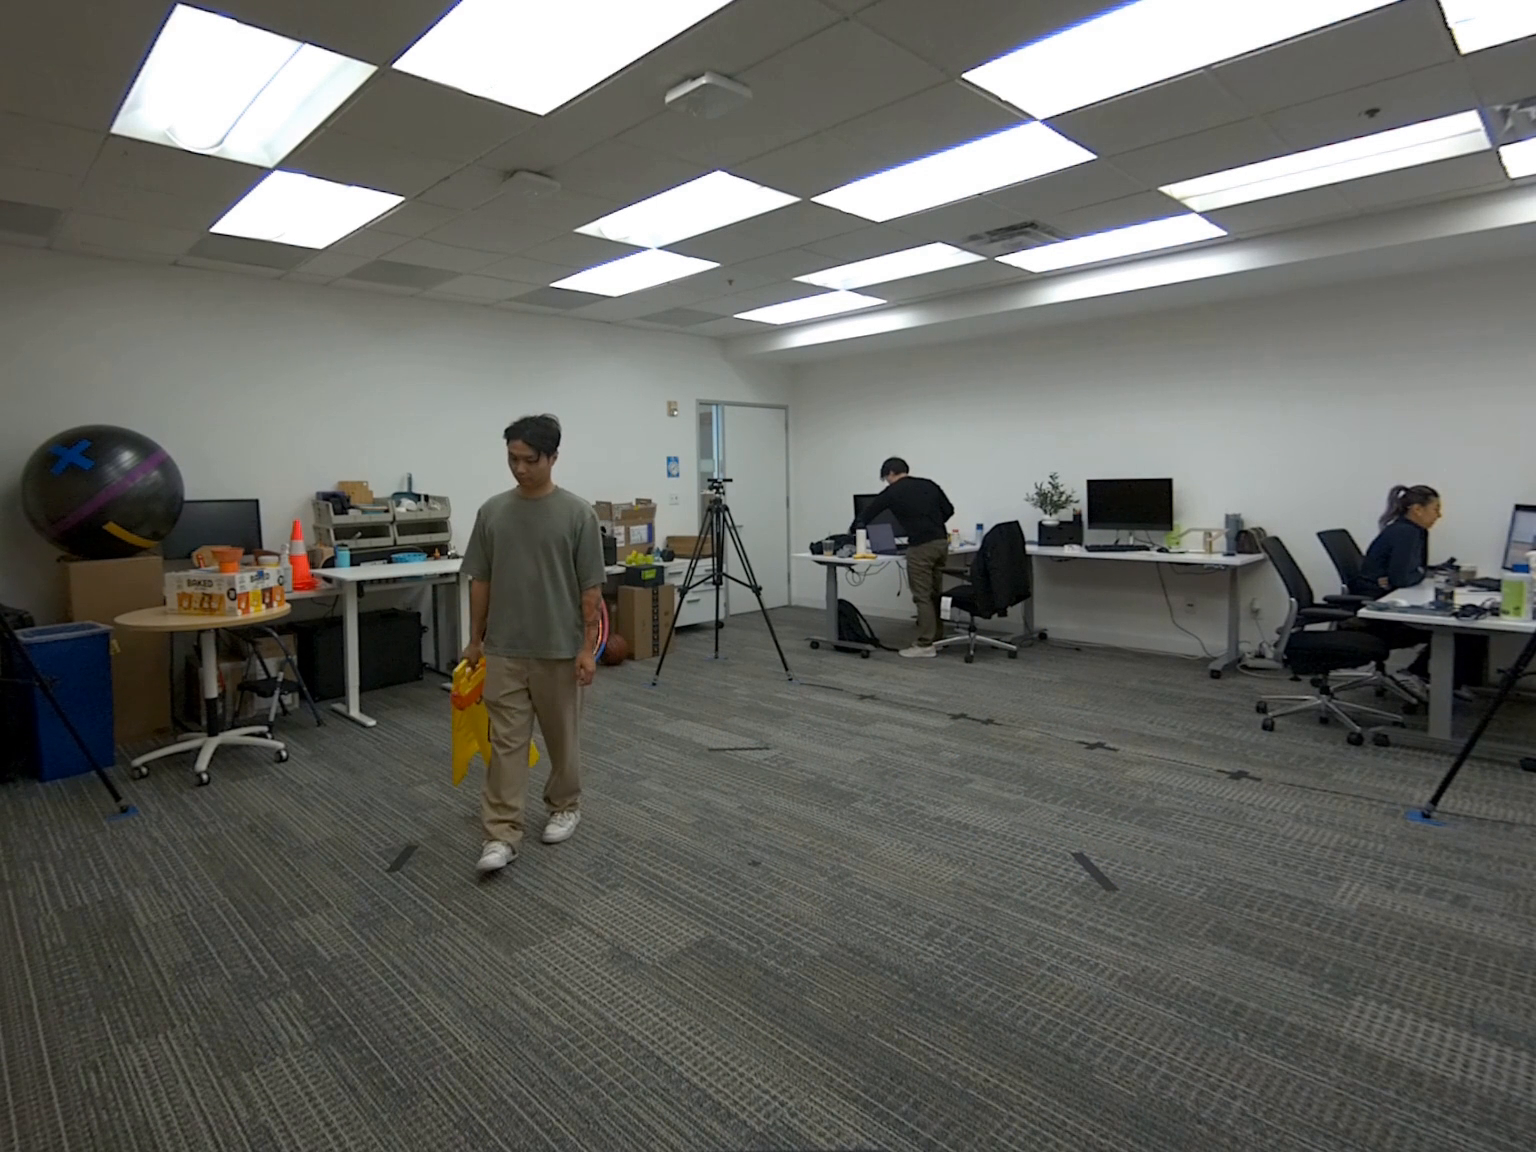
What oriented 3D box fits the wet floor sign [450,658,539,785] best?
[{"bbox_3d":[-1.165,0.586,3.489,0.296,0.630,0.283,11,33,19],"label":"wet floor sign"}]
